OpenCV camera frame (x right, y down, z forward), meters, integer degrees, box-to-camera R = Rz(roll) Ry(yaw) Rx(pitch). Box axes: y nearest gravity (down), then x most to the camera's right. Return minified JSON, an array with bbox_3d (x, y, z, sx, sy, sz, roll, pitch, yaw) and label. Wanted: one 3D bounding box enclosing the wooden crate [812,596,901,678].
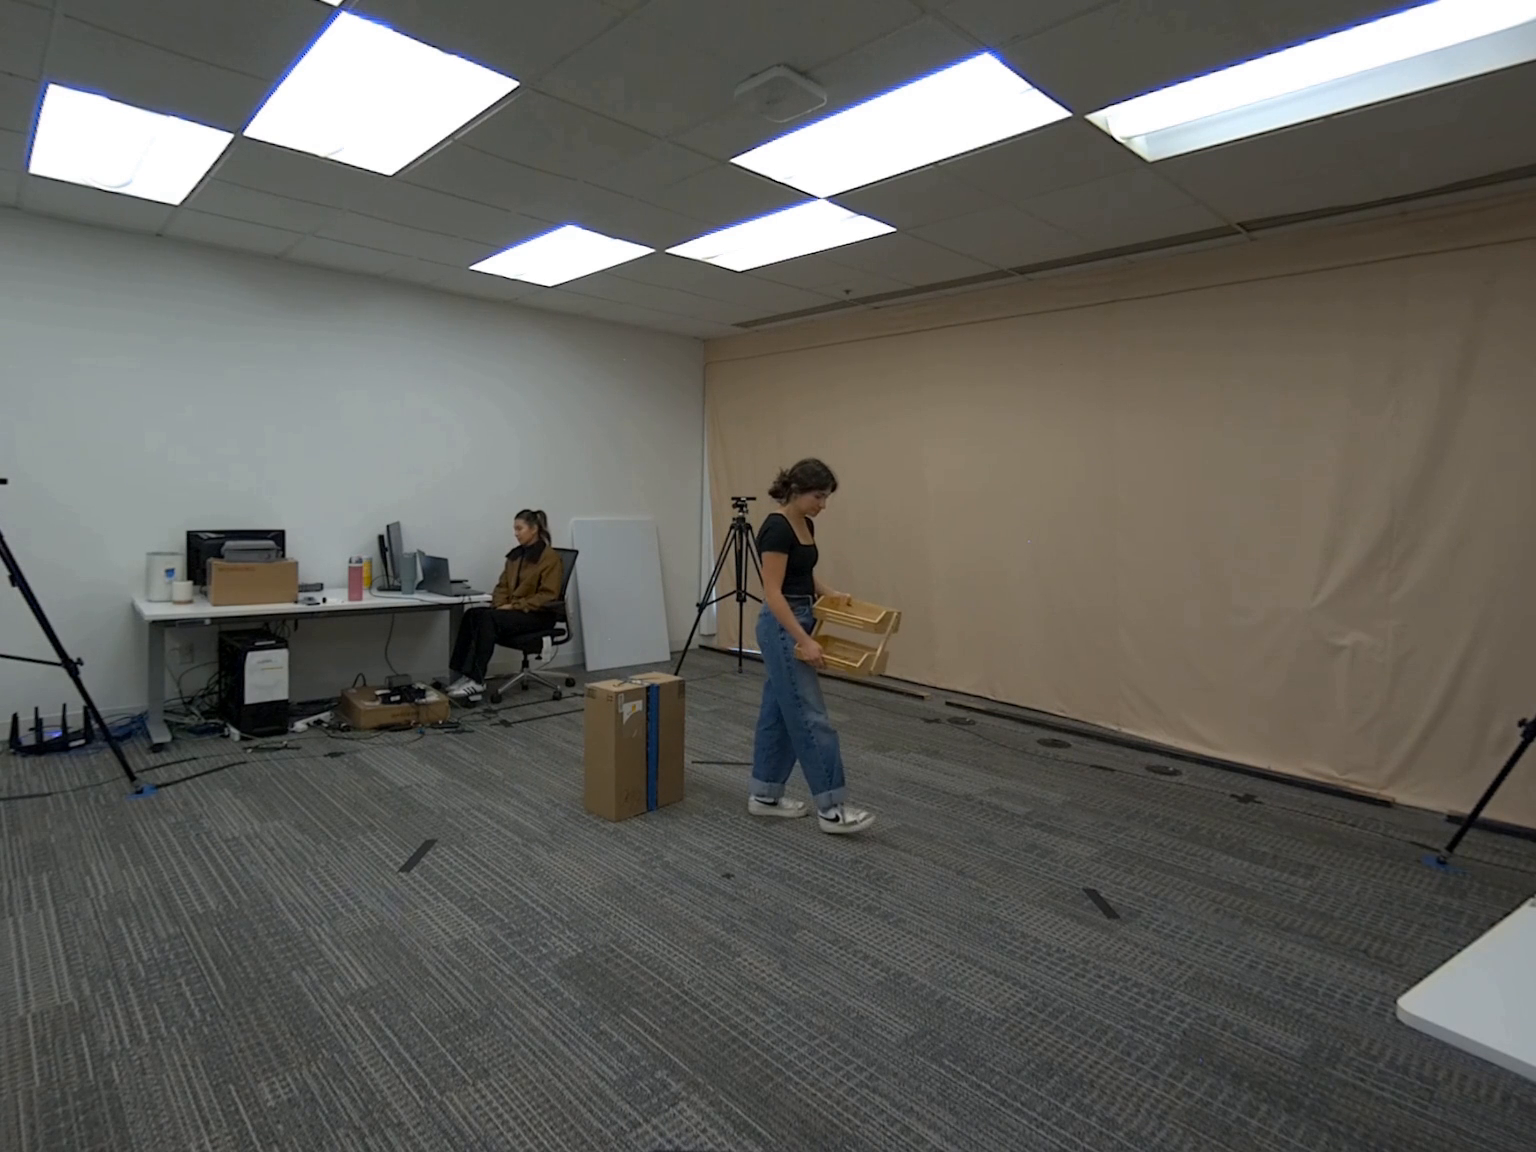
[{"bbox_3d":[0.326,0.236,3.456,0.333,0.273,0.295,12,5,34],"label":"wooden crate"}]
